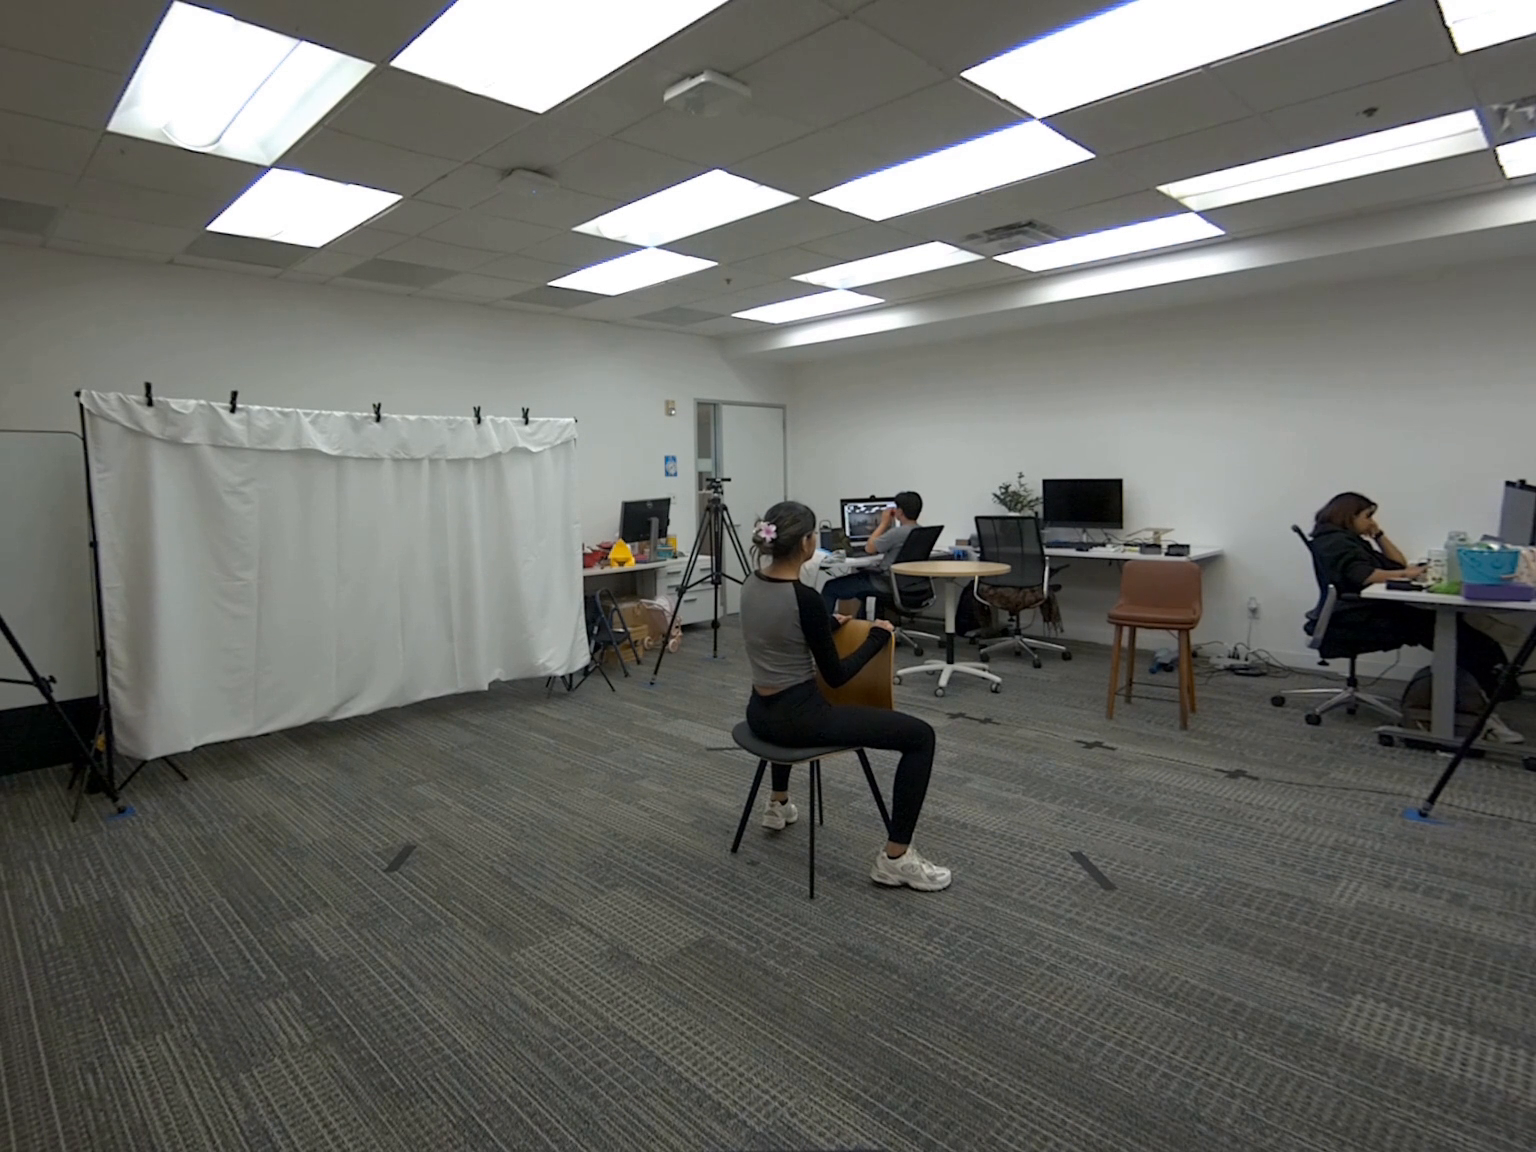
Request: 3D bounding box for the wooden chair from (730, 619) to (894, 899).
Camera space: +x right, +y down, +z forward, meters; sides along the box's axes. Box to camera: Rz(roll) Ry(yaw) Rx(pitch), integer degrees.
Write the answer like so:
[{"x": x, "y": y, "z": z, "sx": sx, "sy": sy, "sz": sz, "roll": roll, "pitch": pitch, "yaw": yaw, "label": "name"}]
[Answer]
[{"x": 0.167, "y": 0.613, "z": 3.102, "sx": 0.508, "sy": 0.877, "sz": 0.492, "roll": 3, "pitch": 1, "yaw": -37, "label": "wooden chair"}]
